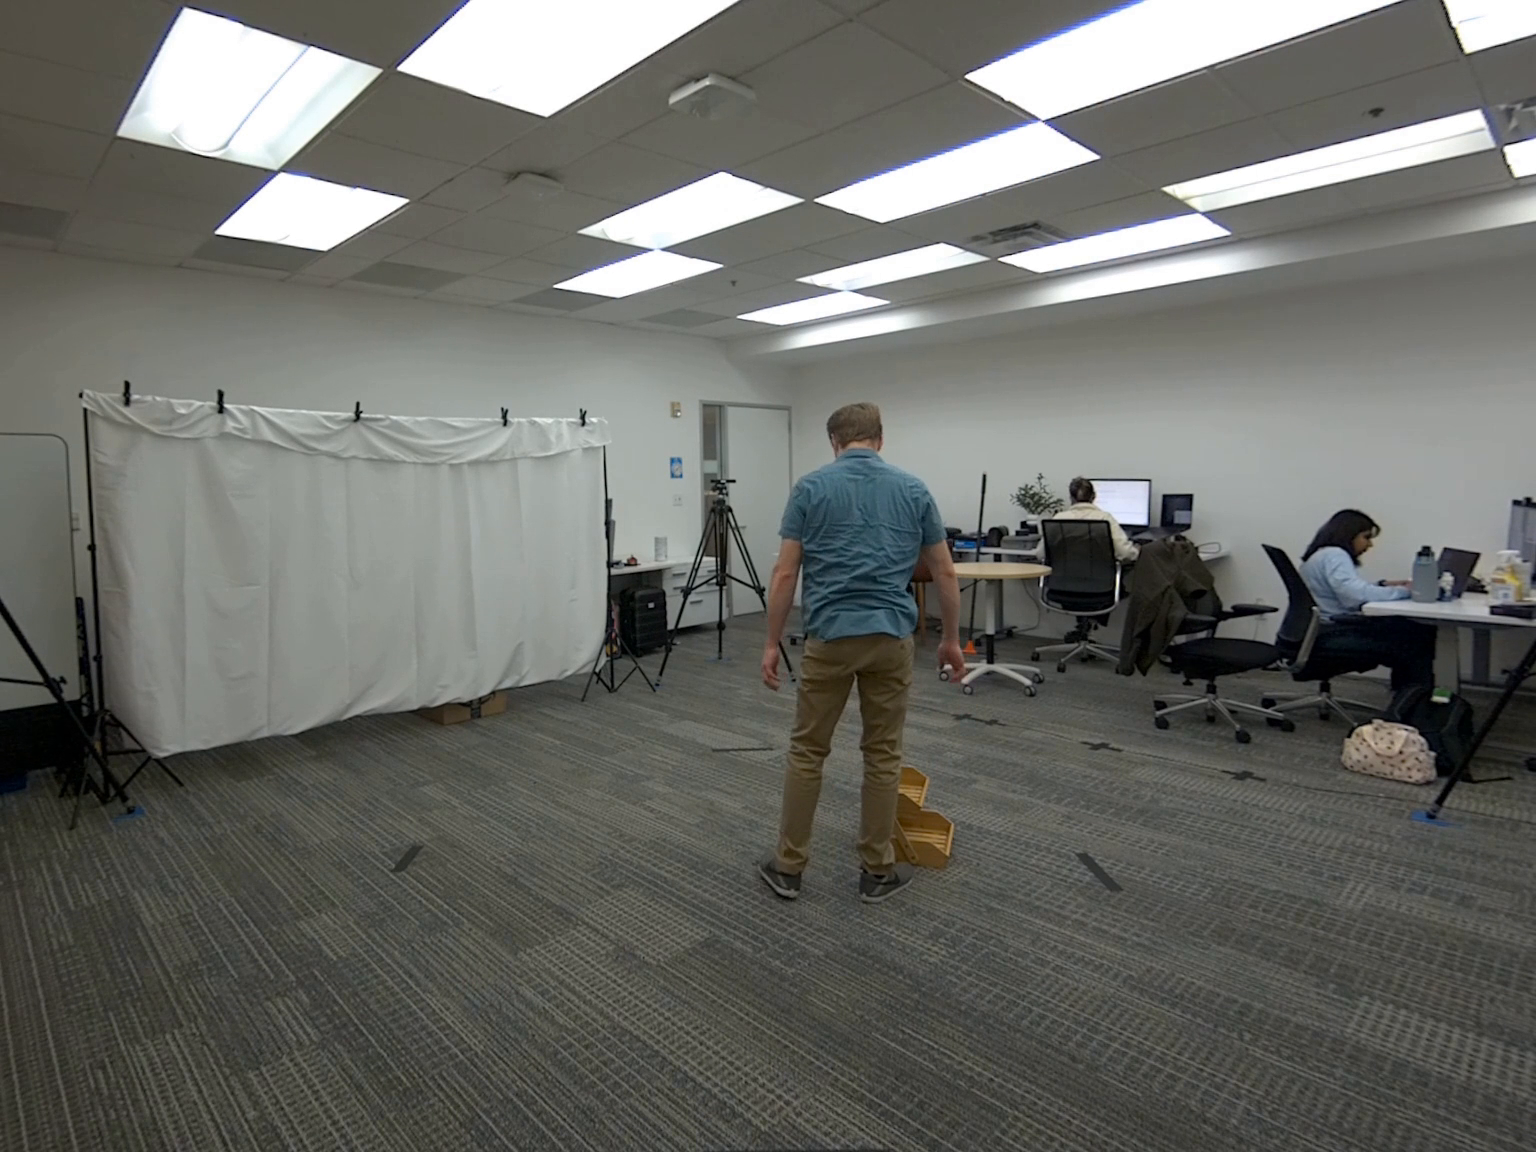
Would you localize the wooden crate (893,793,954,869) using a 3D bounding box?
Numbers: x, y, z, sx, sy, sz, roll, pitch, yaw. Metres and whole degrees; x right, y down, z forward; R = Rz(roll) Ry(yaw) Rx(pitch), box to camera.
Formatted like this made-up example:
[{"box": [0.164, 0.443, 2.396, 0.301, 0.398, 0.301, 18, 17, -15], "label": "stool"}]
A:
[{"box": [0.545, 0.893, 3.222, 0.307, 0.272, 0.320, 0, 5, 17], "label": "wooden crate"}]
